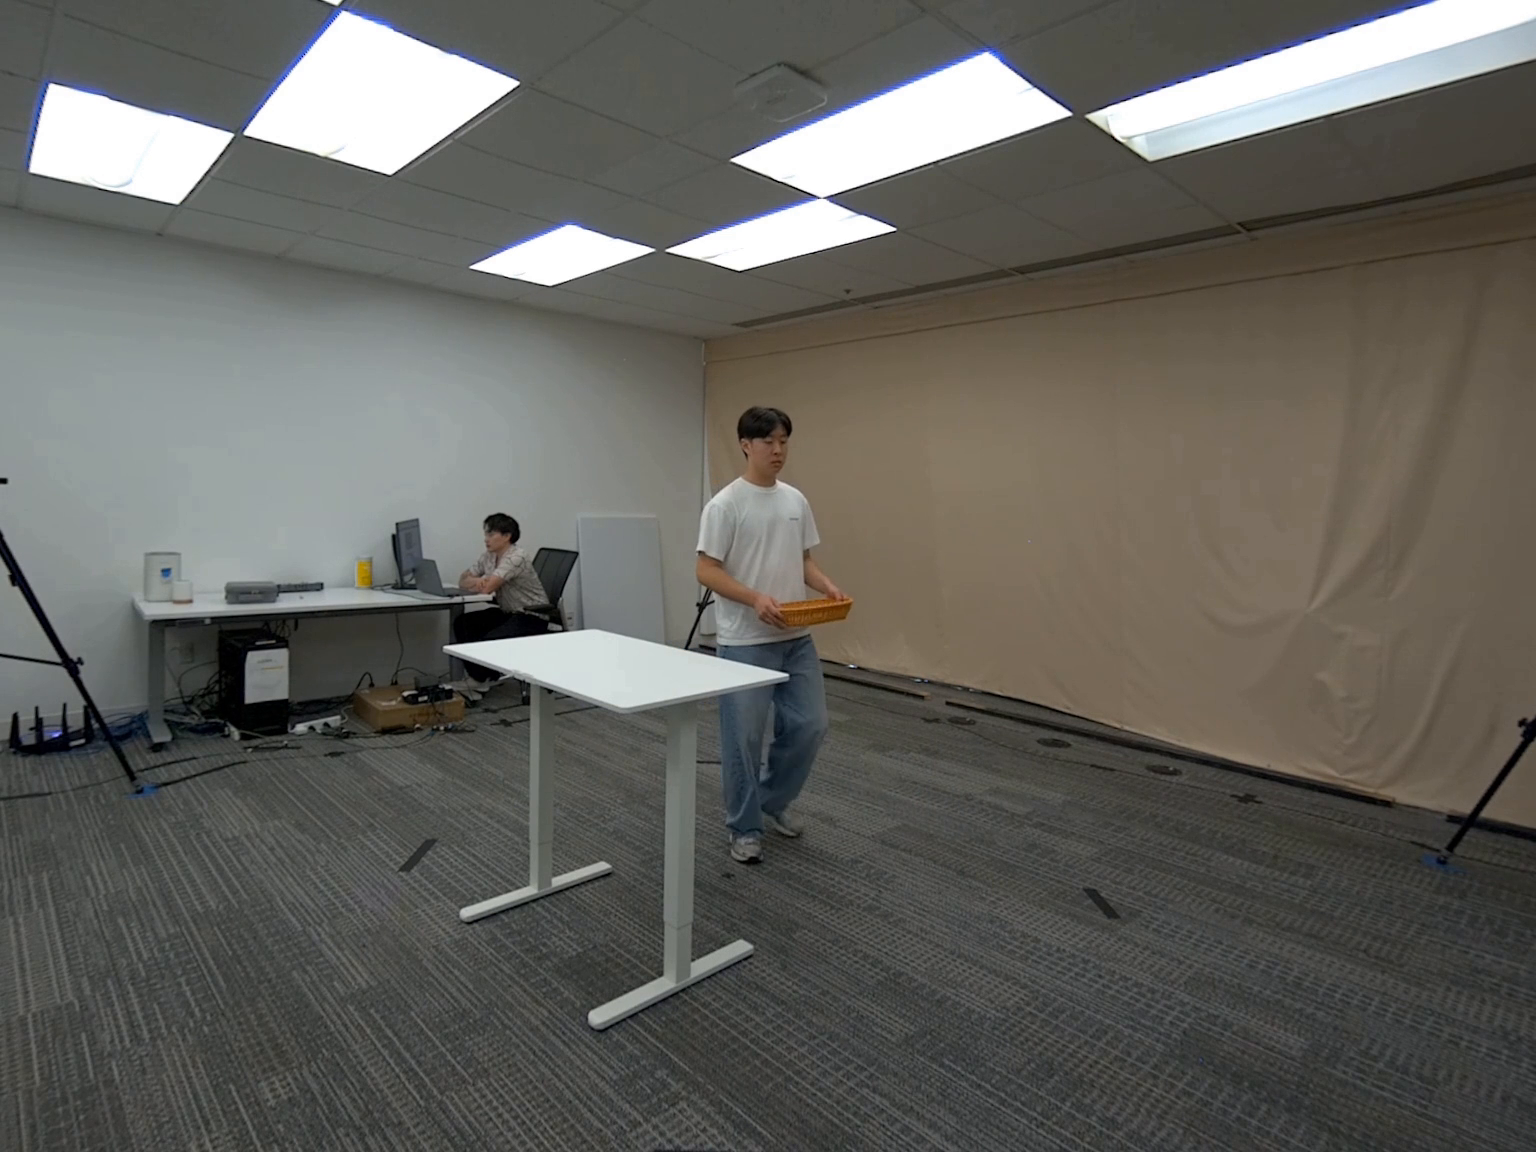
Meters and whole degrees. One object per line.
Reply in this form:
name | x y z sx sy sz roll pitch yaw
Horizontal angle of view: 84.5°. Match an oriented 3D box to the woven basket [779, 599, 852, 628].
woven basket | 0.118 0.144 3.148 0.344 0.073 0.257 -6 4 -29
